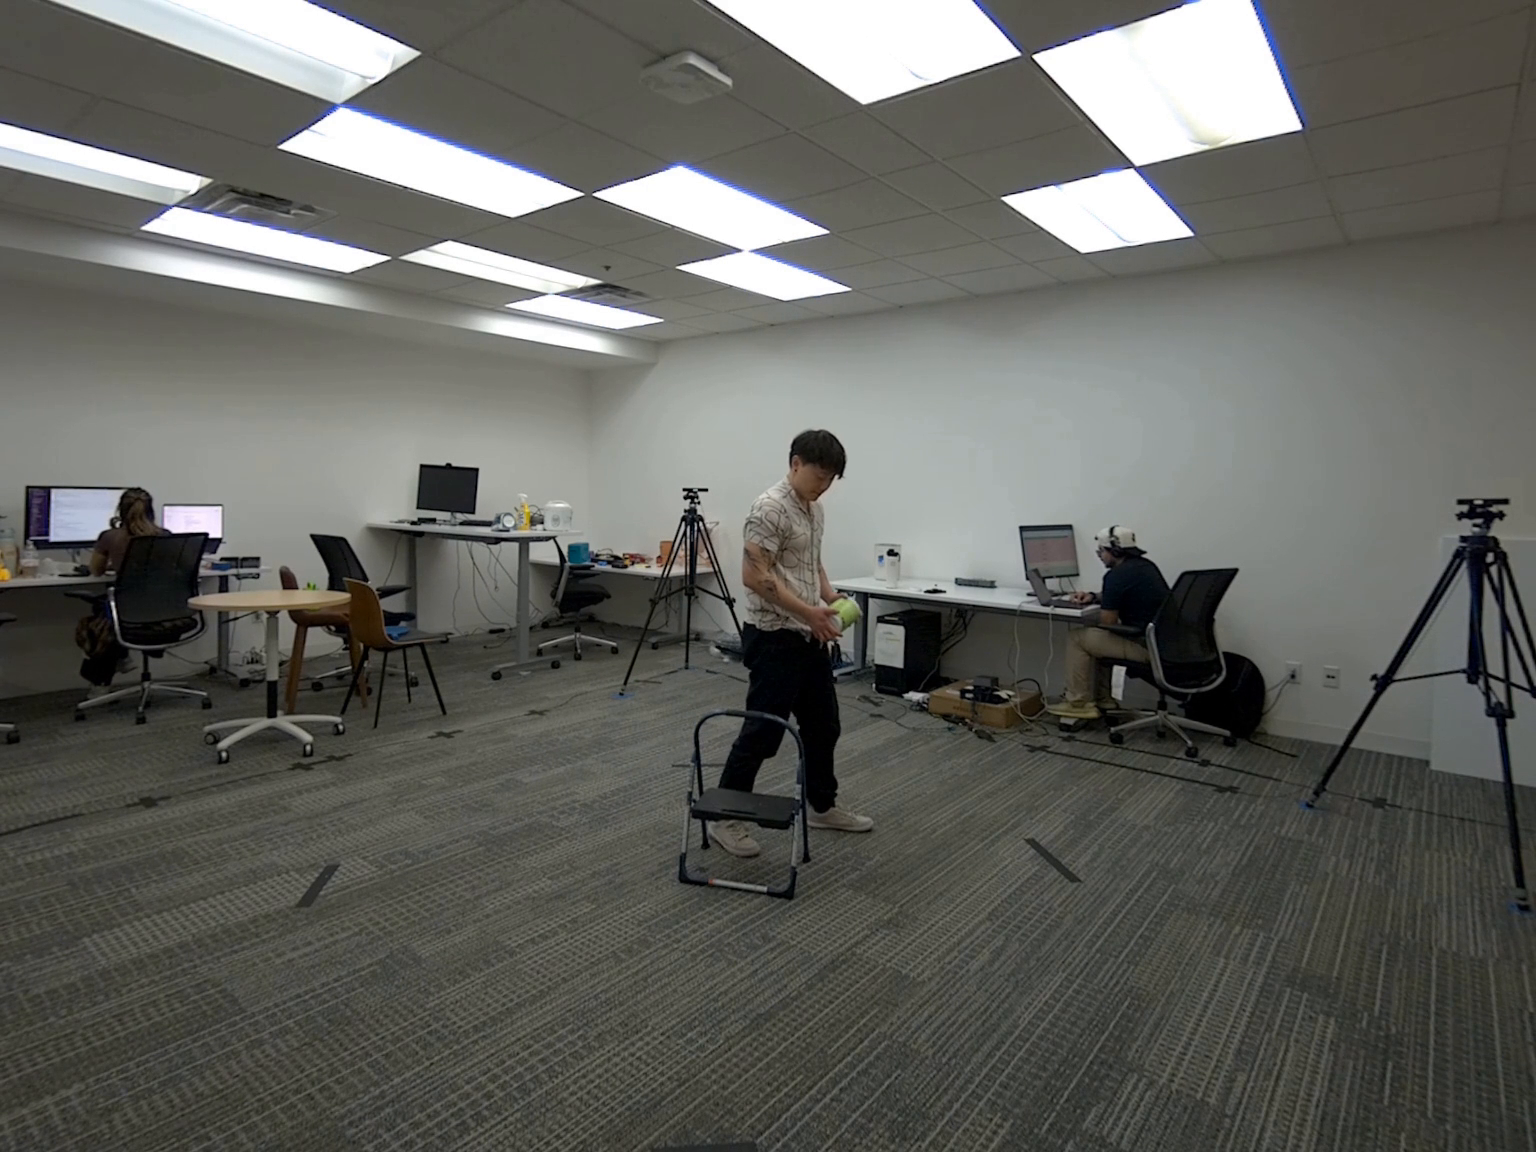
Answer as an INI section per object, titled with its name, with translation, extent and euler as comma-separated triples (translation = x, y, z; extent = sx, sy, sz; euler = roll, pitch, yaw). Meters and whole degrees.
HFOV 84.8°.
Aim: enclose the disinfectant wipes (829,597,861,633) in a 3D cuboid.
[disinfectant wipes]
translation = 0.260, 0.155, 3.281
extent = 0.121, 0.116, 0.215
euler = 3, 17, 26
